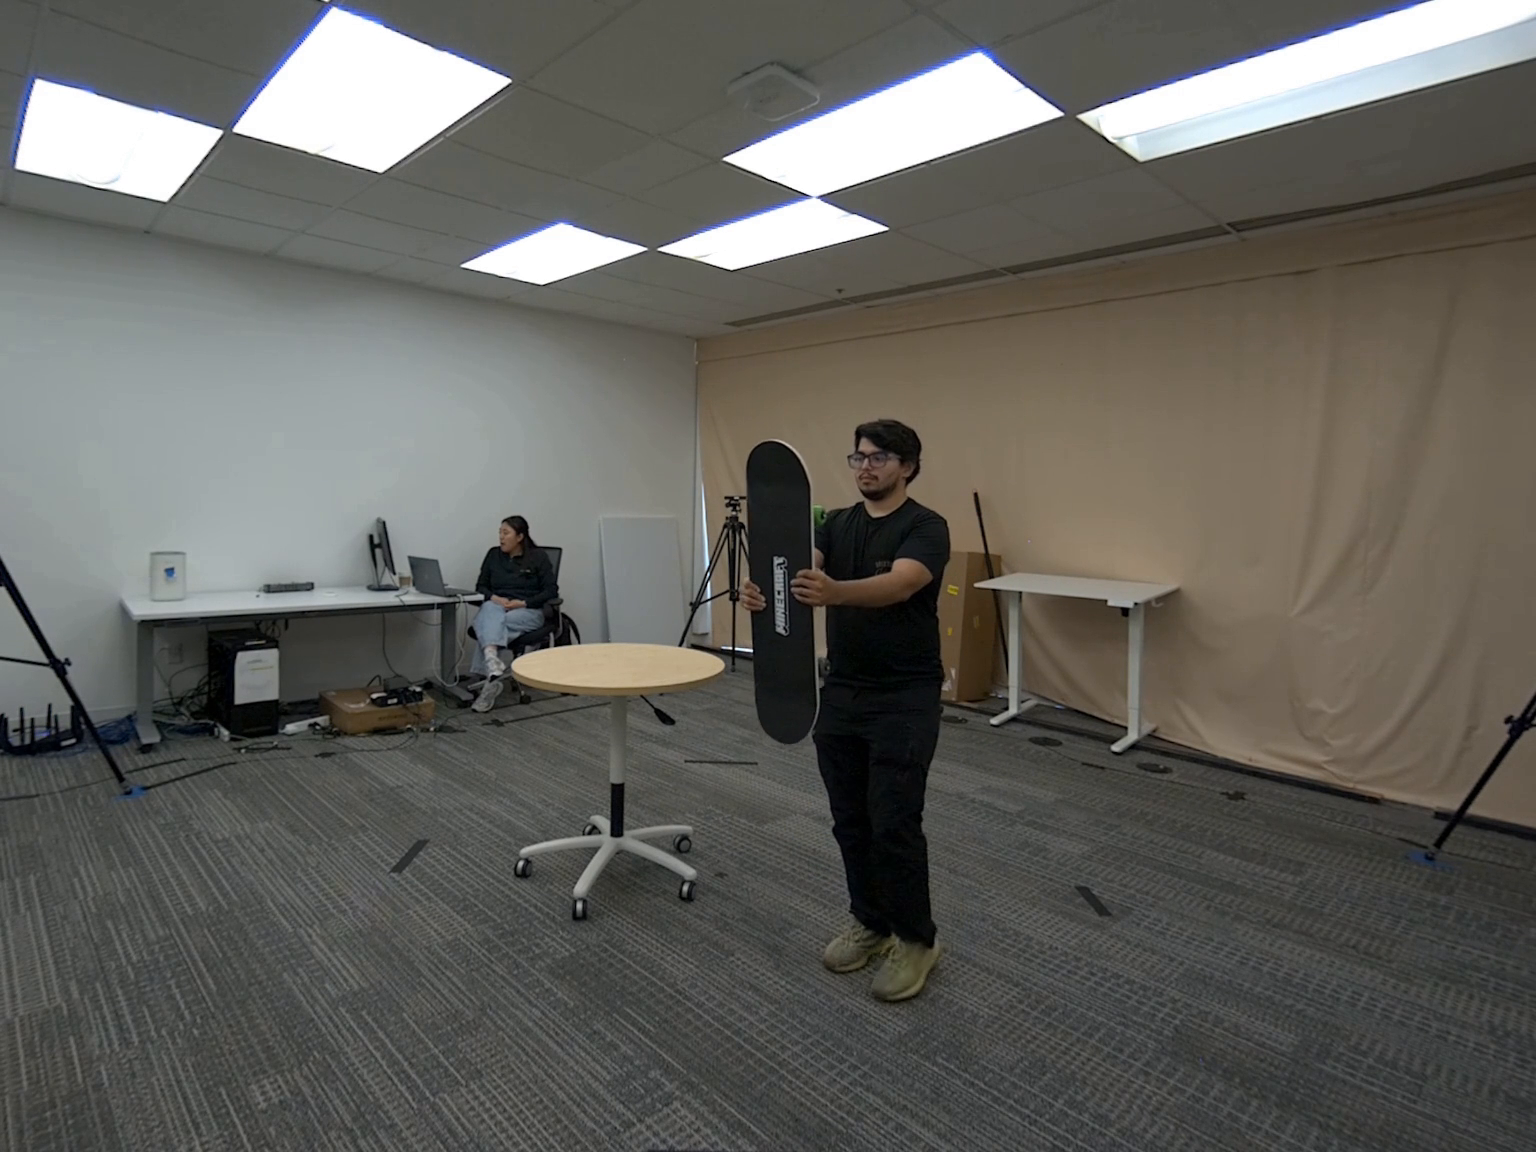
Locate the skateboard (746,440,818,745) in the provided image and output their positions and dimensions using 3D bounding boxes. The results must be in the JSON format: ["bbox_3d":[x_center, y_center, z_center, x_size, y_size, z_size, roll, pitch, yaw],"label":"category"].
[{"bbox_3d":[0.049,0.049,2.149,0.198,0.778,0.108,8,14,33],"label":"skateboard"}]
